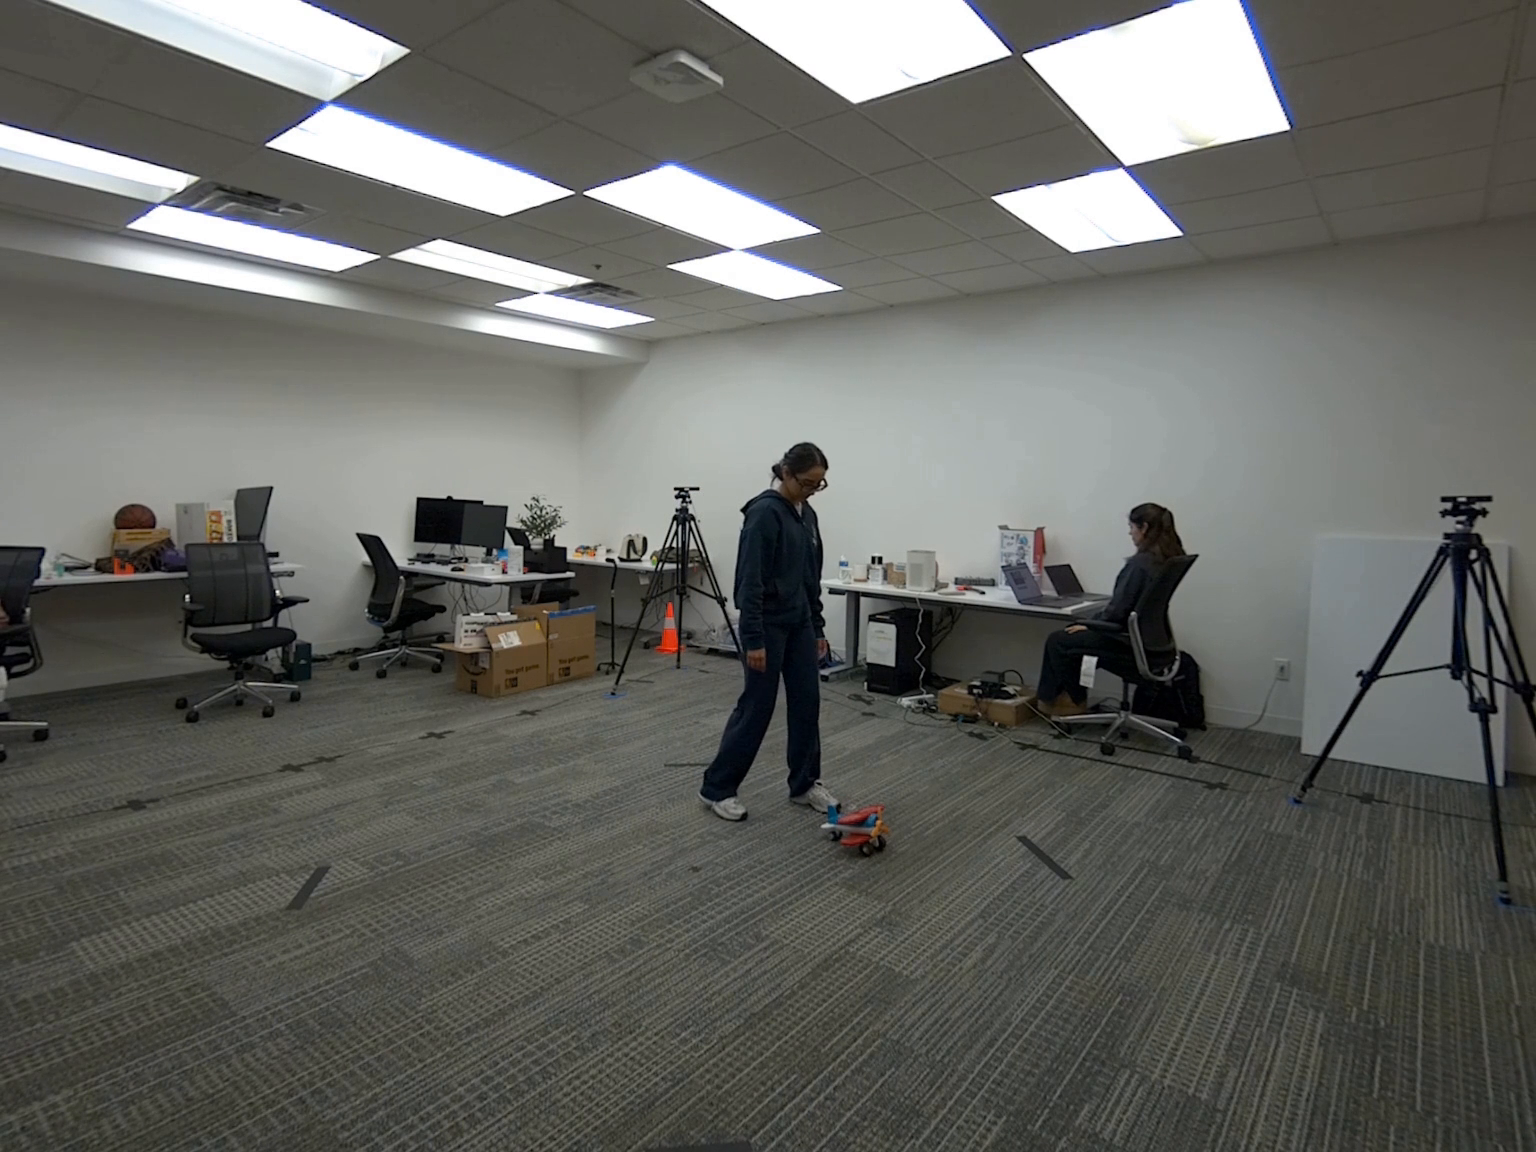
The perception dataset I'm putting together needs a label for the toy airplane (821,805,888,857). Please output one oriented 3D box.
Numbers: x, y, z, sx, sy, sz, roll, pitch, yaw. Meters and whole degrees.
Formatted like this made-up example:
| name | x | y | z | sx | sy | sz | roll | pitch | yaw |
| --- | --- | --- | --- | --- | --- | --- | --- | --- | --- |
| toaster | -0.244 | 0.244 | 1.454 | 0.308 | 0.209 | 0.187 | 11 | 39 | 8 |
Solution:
| name | x | y | z | sx | sy | sz | roll | pitch | yaw |
| --- | --- | --- | --- | --- | --- | --- | --- | --- | --- |
| toy airplane | 0.316 | 0.980 | 3.320 | 0.264 | 0.156 | 0.248 | 4 | 6 | 14 |
